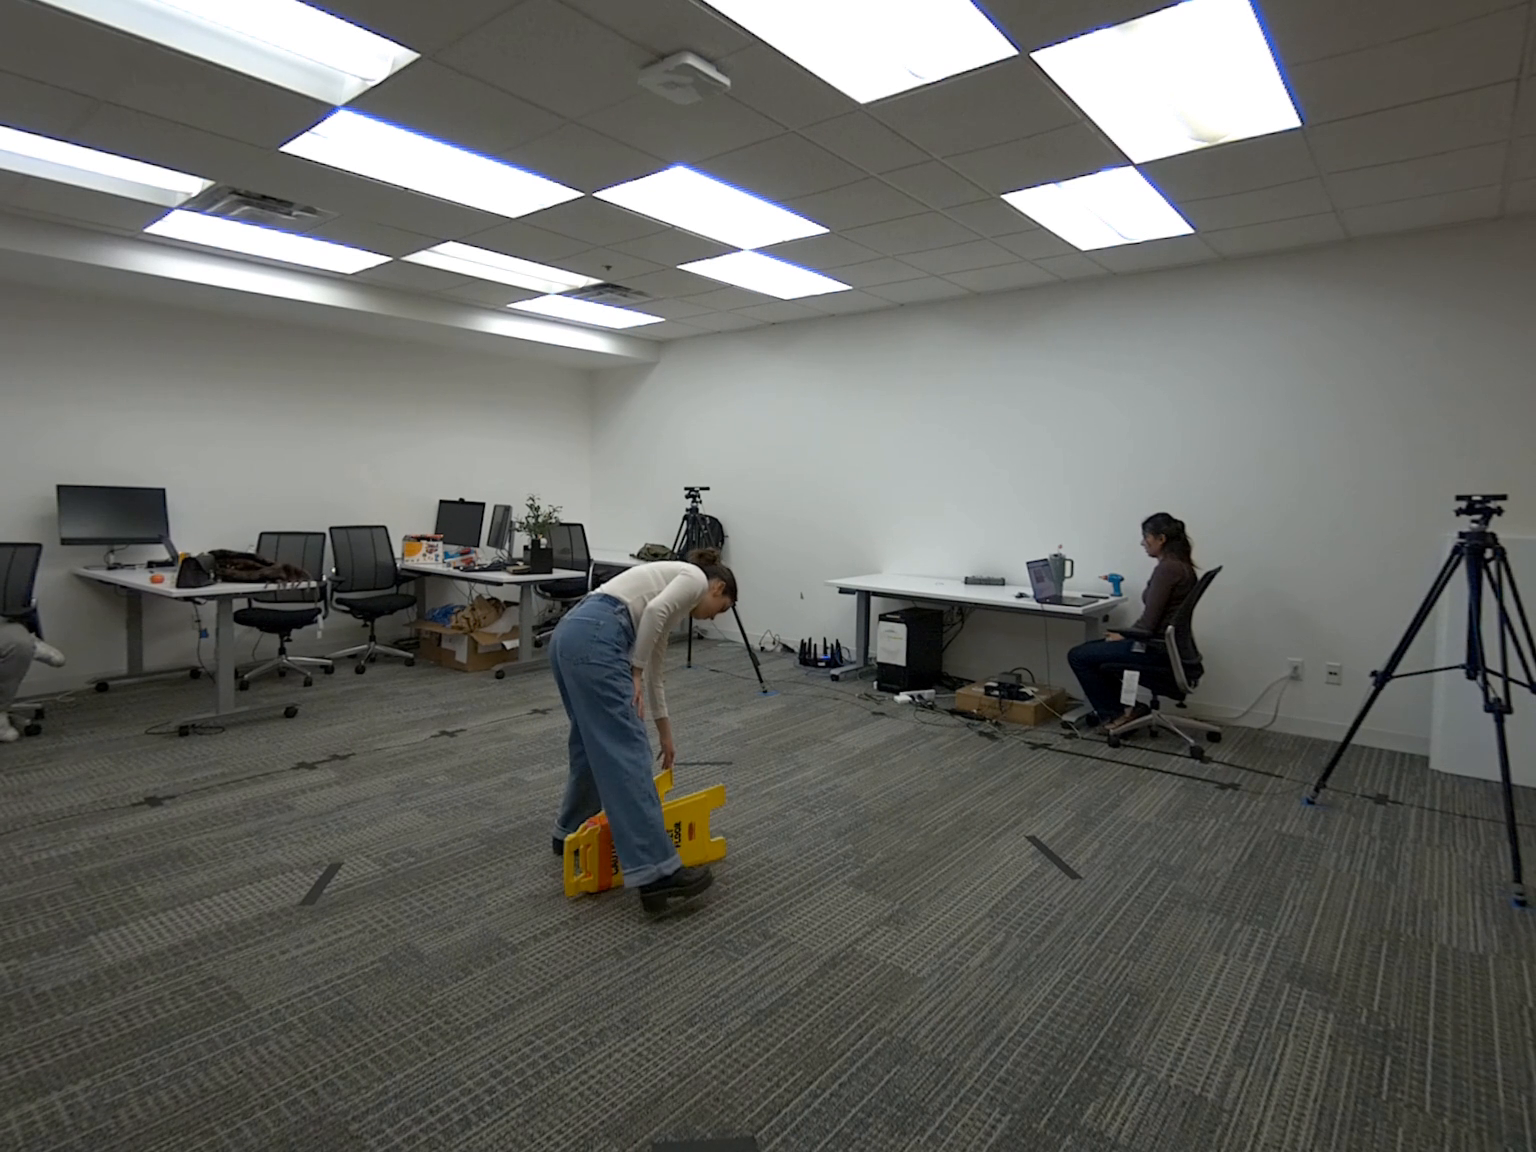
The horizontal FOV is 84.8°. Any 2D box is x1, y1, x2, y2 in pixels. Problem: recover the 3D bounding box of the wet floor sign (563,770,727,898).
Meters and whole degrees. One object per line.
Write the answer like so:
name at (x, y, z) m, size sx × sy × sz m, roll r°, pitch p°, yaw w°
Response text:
wet floor sign at (-0.476, 0.937, 3.055) m, size 0.299 × 0.281 × 0.628 m, roll 2°, pitch 6°, yaw 40°
